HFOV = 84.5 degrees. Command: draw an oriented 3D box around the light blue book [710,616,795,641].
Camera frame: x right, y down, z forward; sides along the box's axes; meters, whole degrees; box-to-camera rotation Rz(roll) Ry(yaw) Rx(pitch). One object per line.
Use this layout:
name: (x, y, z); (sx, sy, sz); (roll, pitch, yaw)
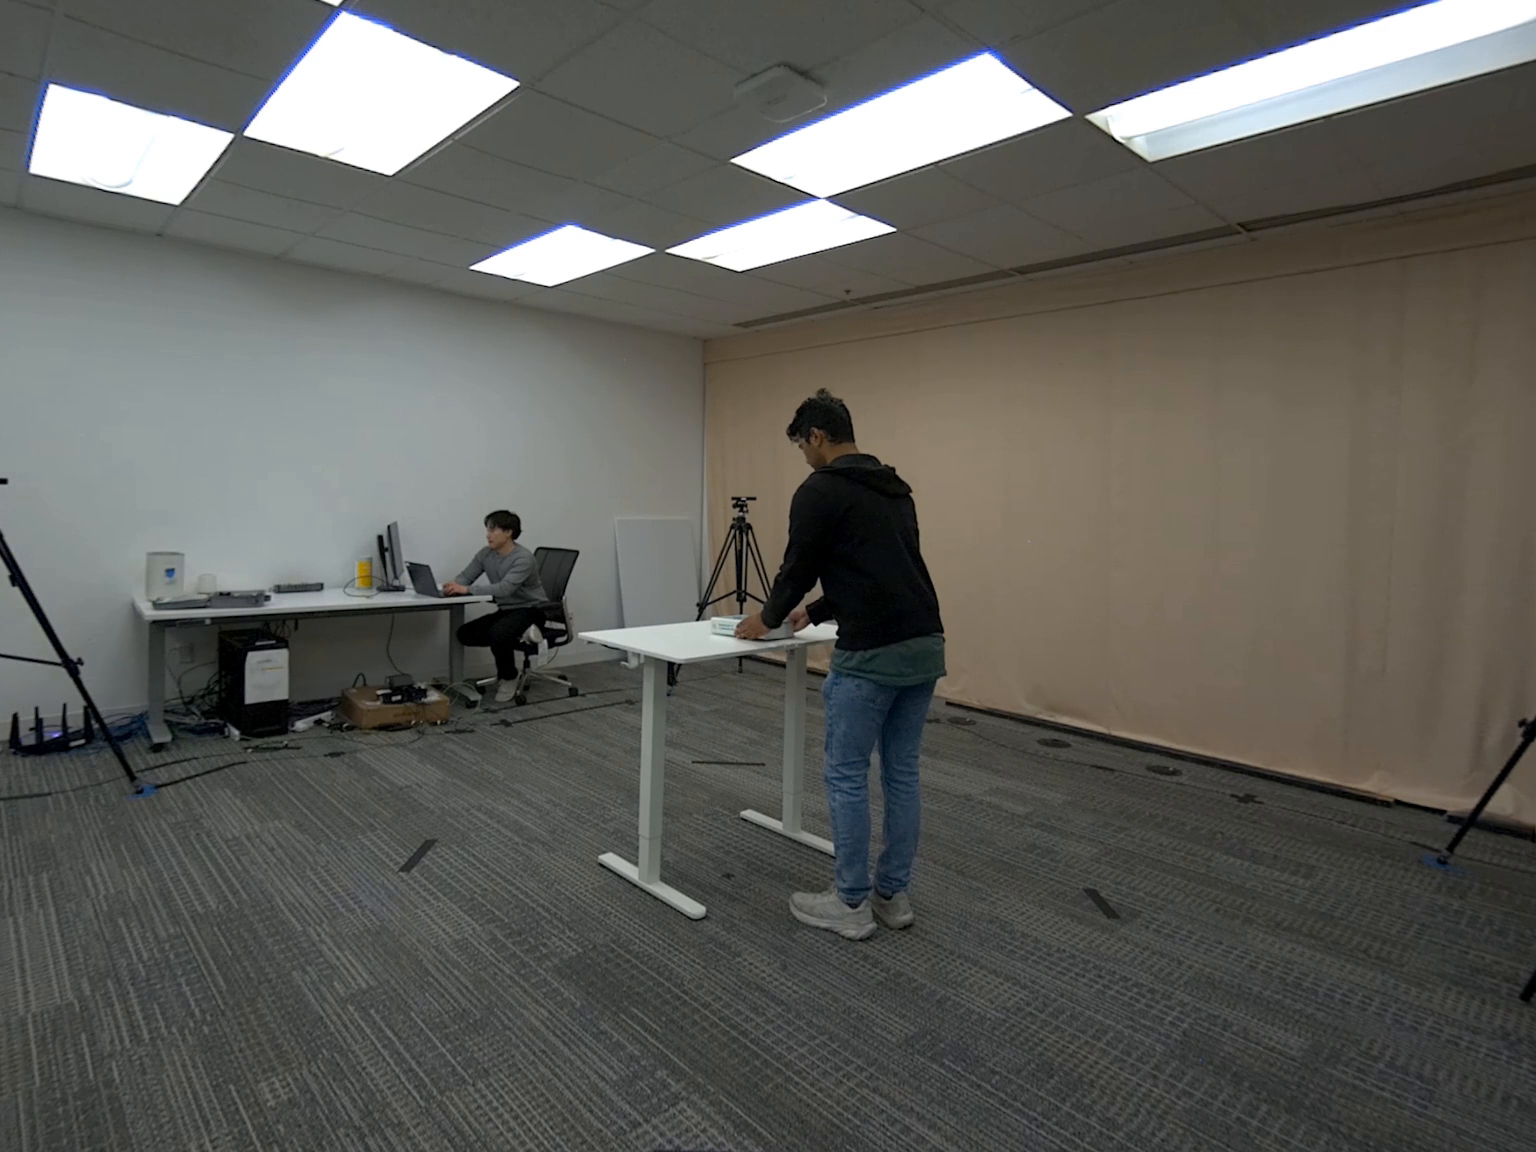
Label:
light blue book: (-0.060, 0.192, 3.163); (0.267, 0.059, 0.187); (5, 5, 36)
